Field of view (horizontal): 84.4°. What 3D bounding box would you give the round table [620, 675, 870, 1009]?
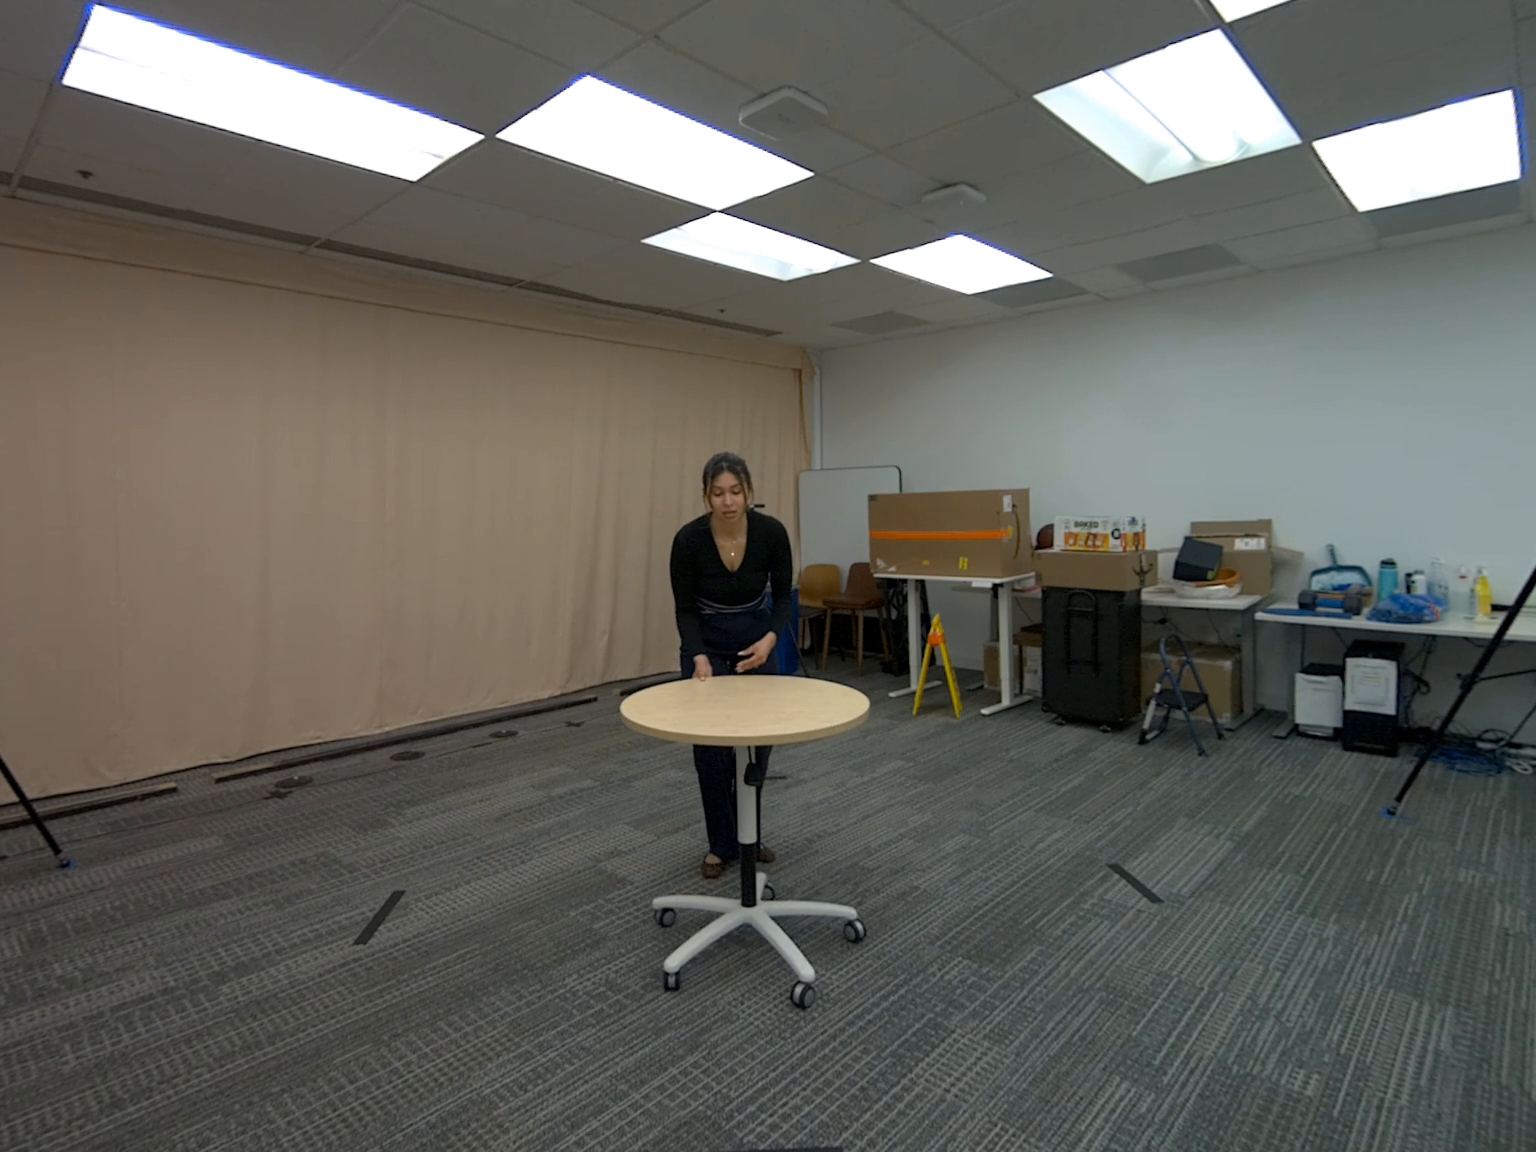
[{"bbox_3d":[-0.058,0.782,2.623,0.763,0.792,0.767,-2,4,-2],"label":"round table"}]
